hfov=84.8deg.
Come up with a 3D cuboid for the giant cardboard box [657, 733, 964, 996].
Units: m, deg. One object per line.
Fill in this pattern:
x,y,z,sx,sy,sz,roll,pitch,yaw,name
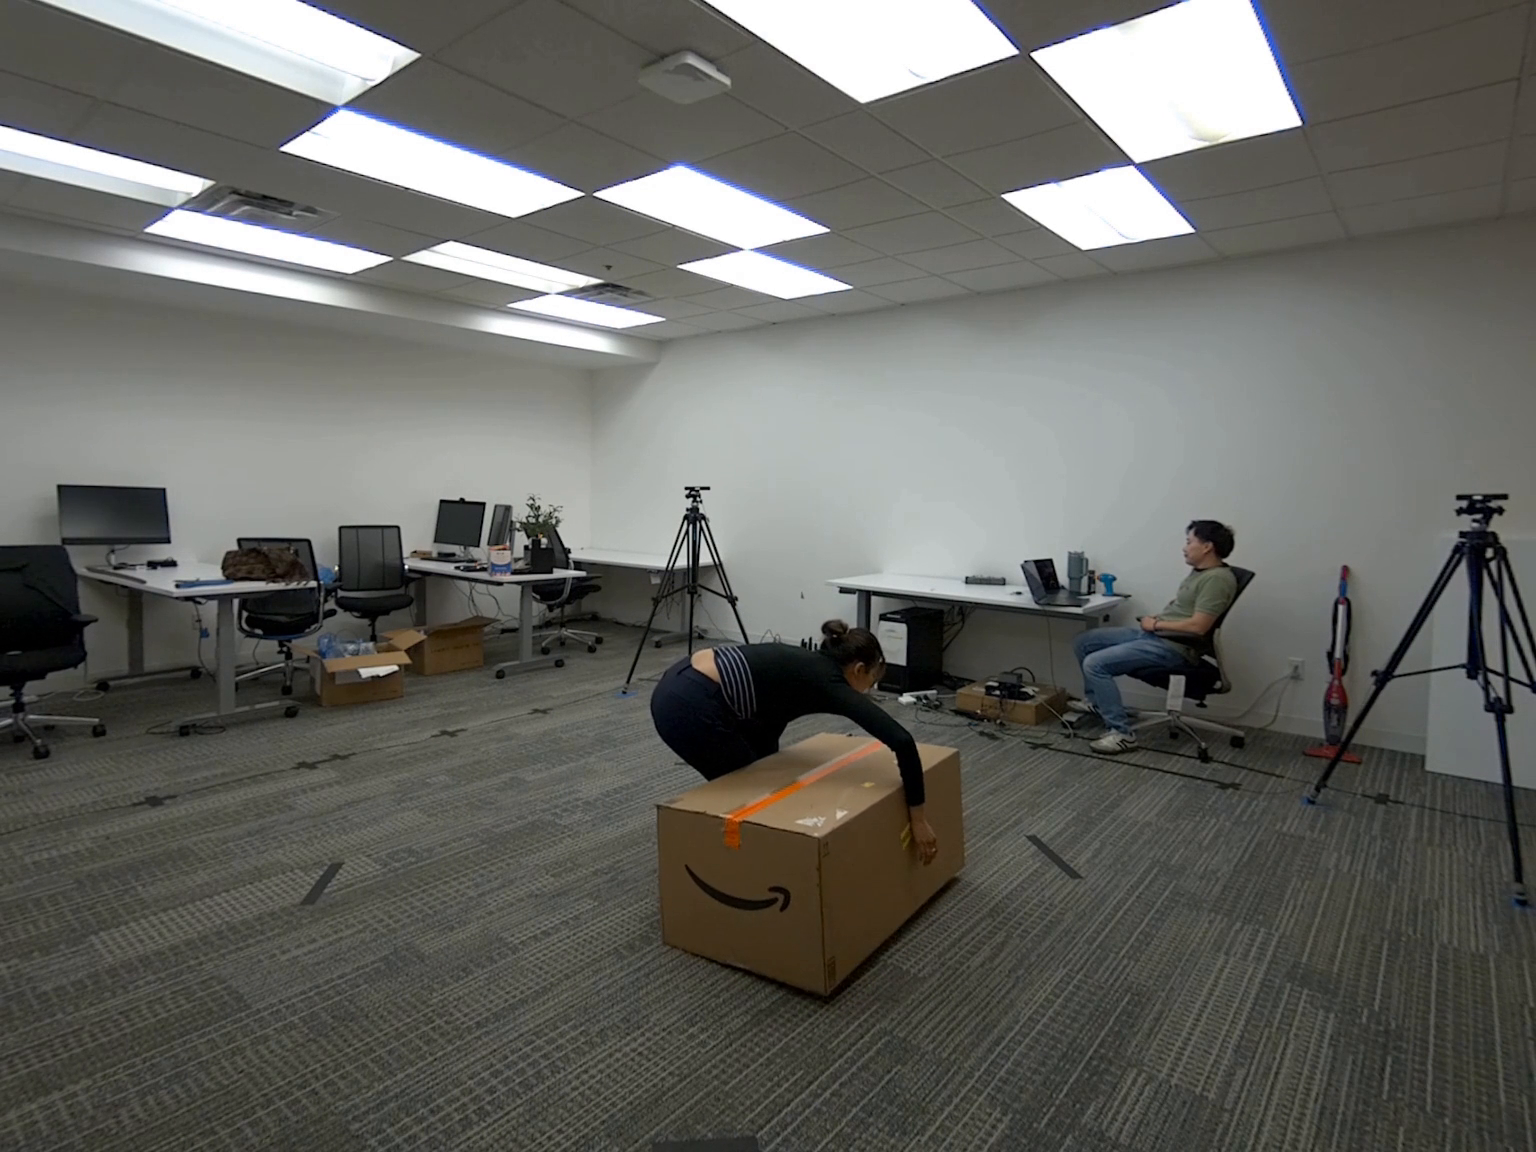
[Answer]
0.174,0.862,2.833,0.595,0.425,0.997,-1,3,35,giant cardboard box
